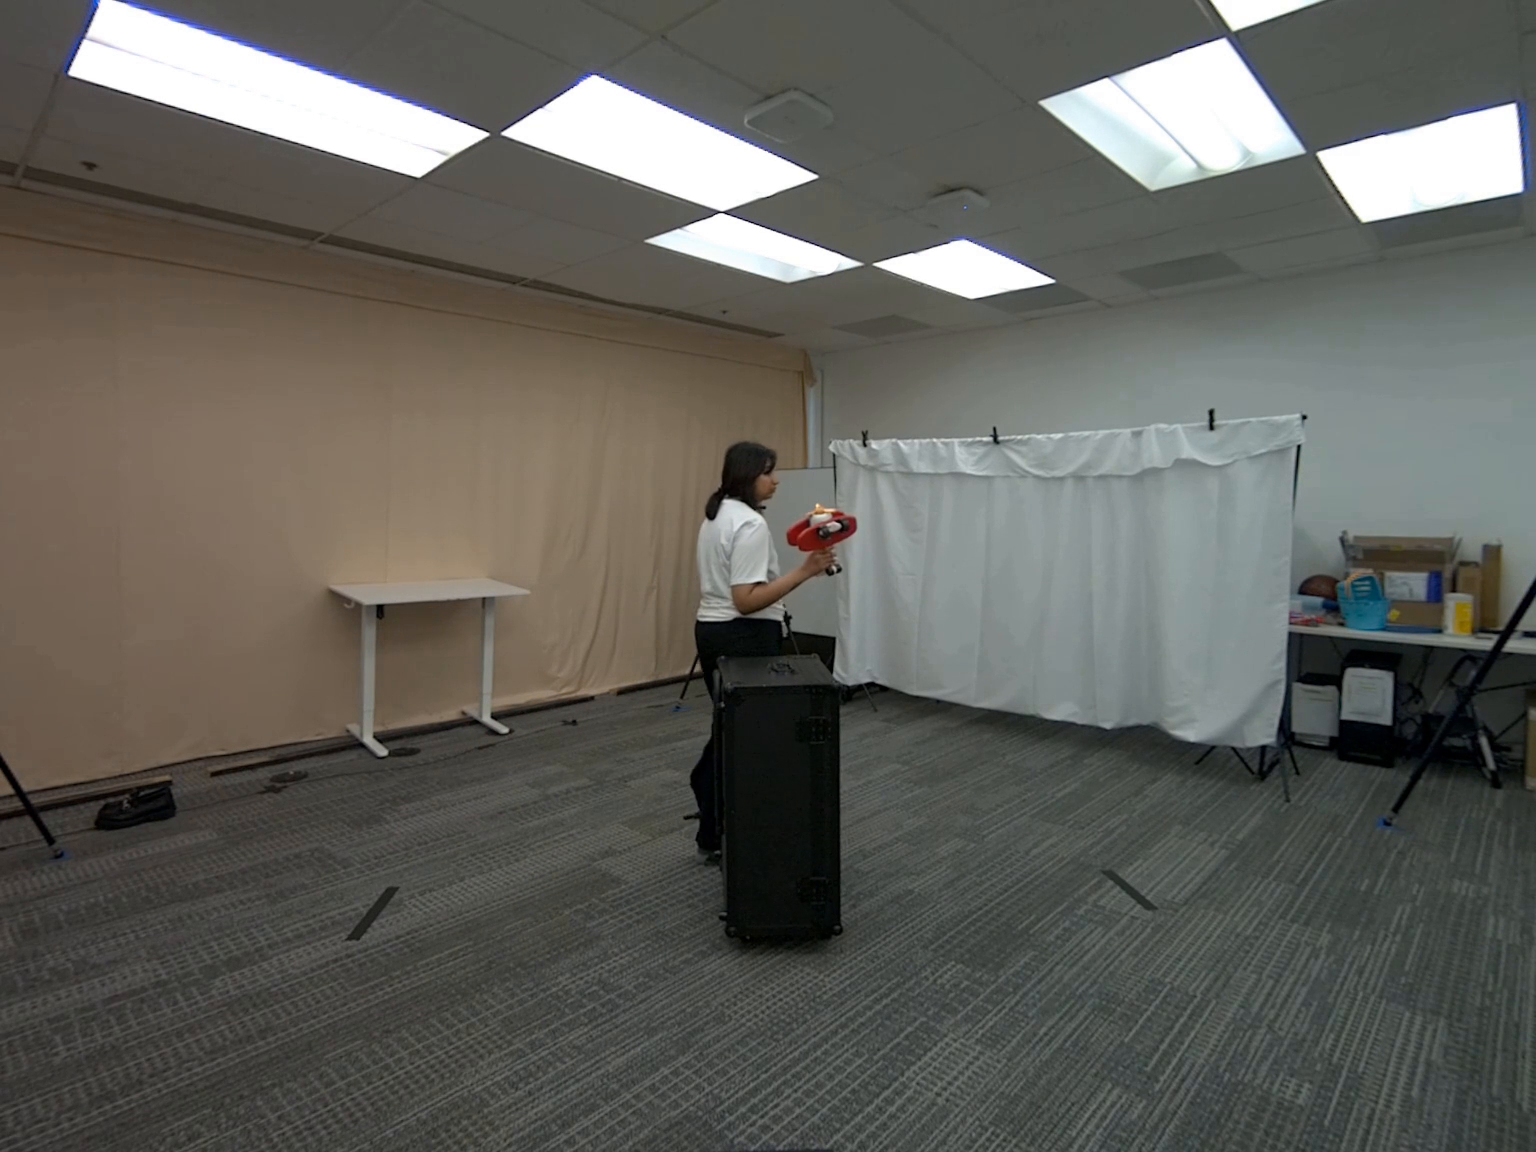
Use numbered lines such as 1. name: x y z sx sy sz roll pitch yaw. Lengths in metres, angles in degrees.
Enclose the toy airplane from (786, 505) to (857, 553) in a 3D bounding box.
1. toy airplane: 0.195 -0.122 3.091 0.243 0.258 0.162 7 27 -38
